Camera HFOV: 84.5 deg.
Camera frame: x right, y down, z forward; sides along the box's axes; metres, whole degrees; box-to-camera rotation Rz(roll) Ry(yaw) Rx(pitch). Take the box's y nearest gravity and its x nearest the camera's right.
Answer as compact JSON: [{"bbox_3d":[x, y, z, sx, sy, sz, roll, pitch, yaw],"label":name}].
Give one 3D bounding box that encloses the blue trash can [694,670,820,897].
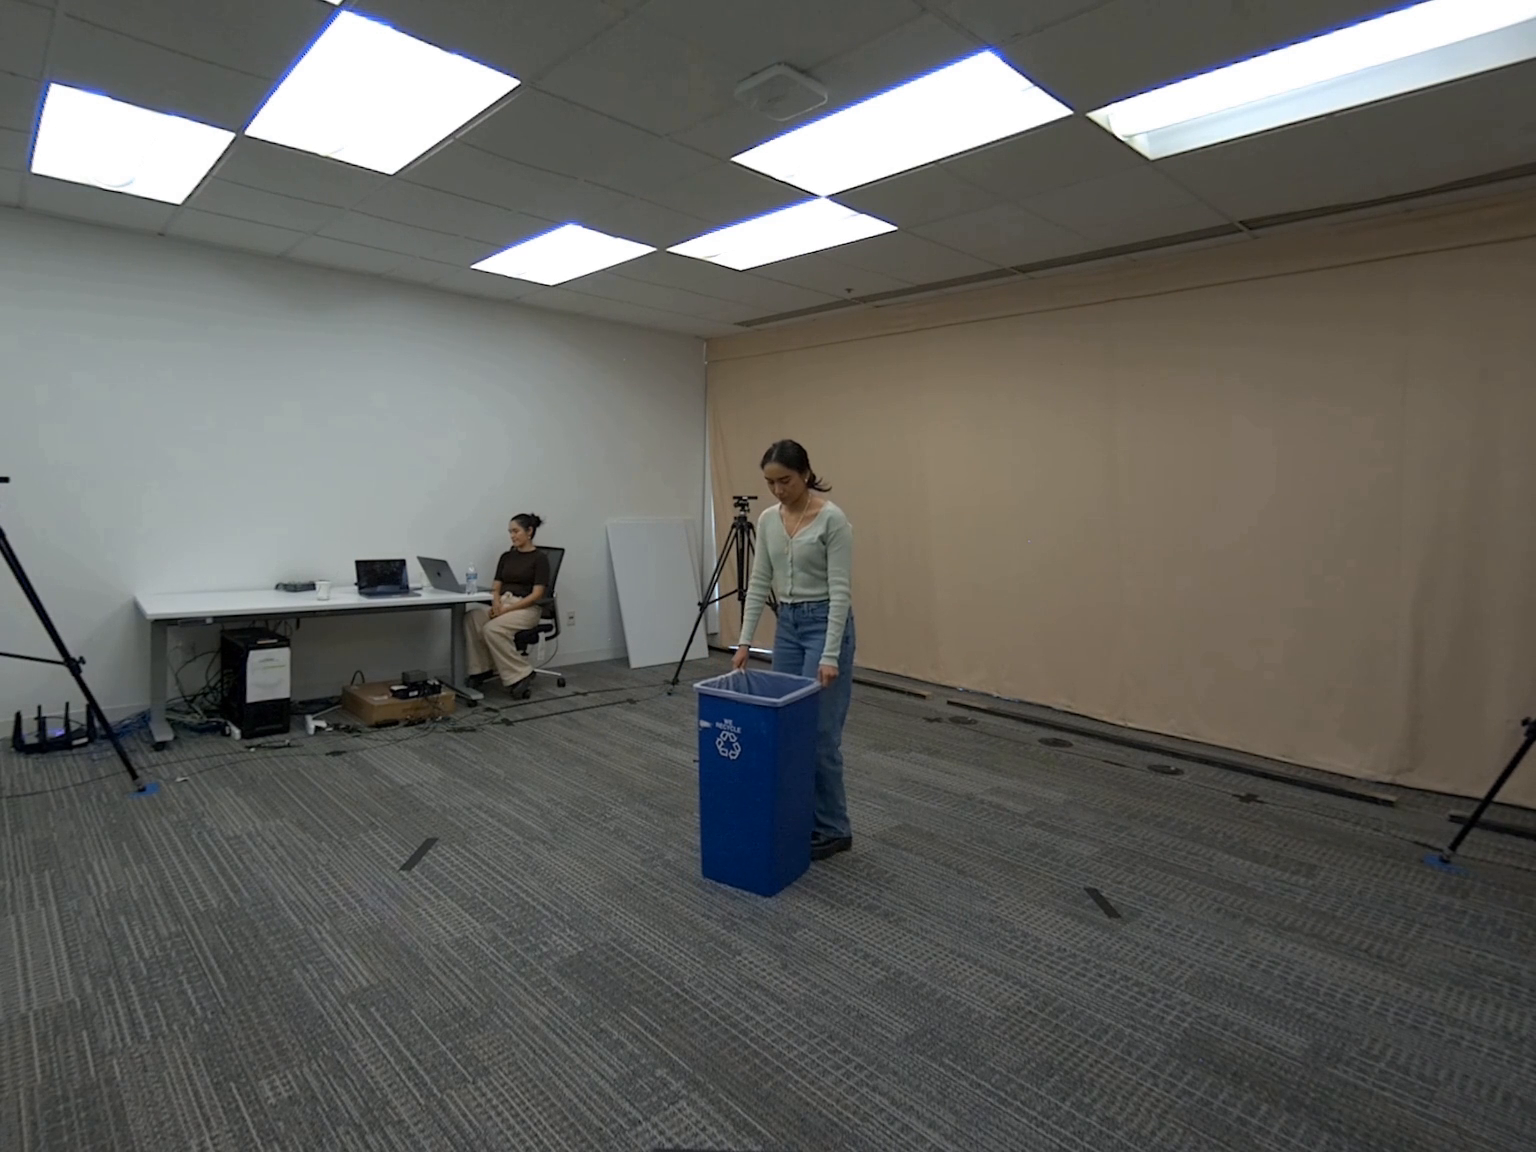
[{"bbox_3d":[-0.039,0.743,3.102,0.382,0.711,0.371,3,5,32],"label":"blue trash can"}]
